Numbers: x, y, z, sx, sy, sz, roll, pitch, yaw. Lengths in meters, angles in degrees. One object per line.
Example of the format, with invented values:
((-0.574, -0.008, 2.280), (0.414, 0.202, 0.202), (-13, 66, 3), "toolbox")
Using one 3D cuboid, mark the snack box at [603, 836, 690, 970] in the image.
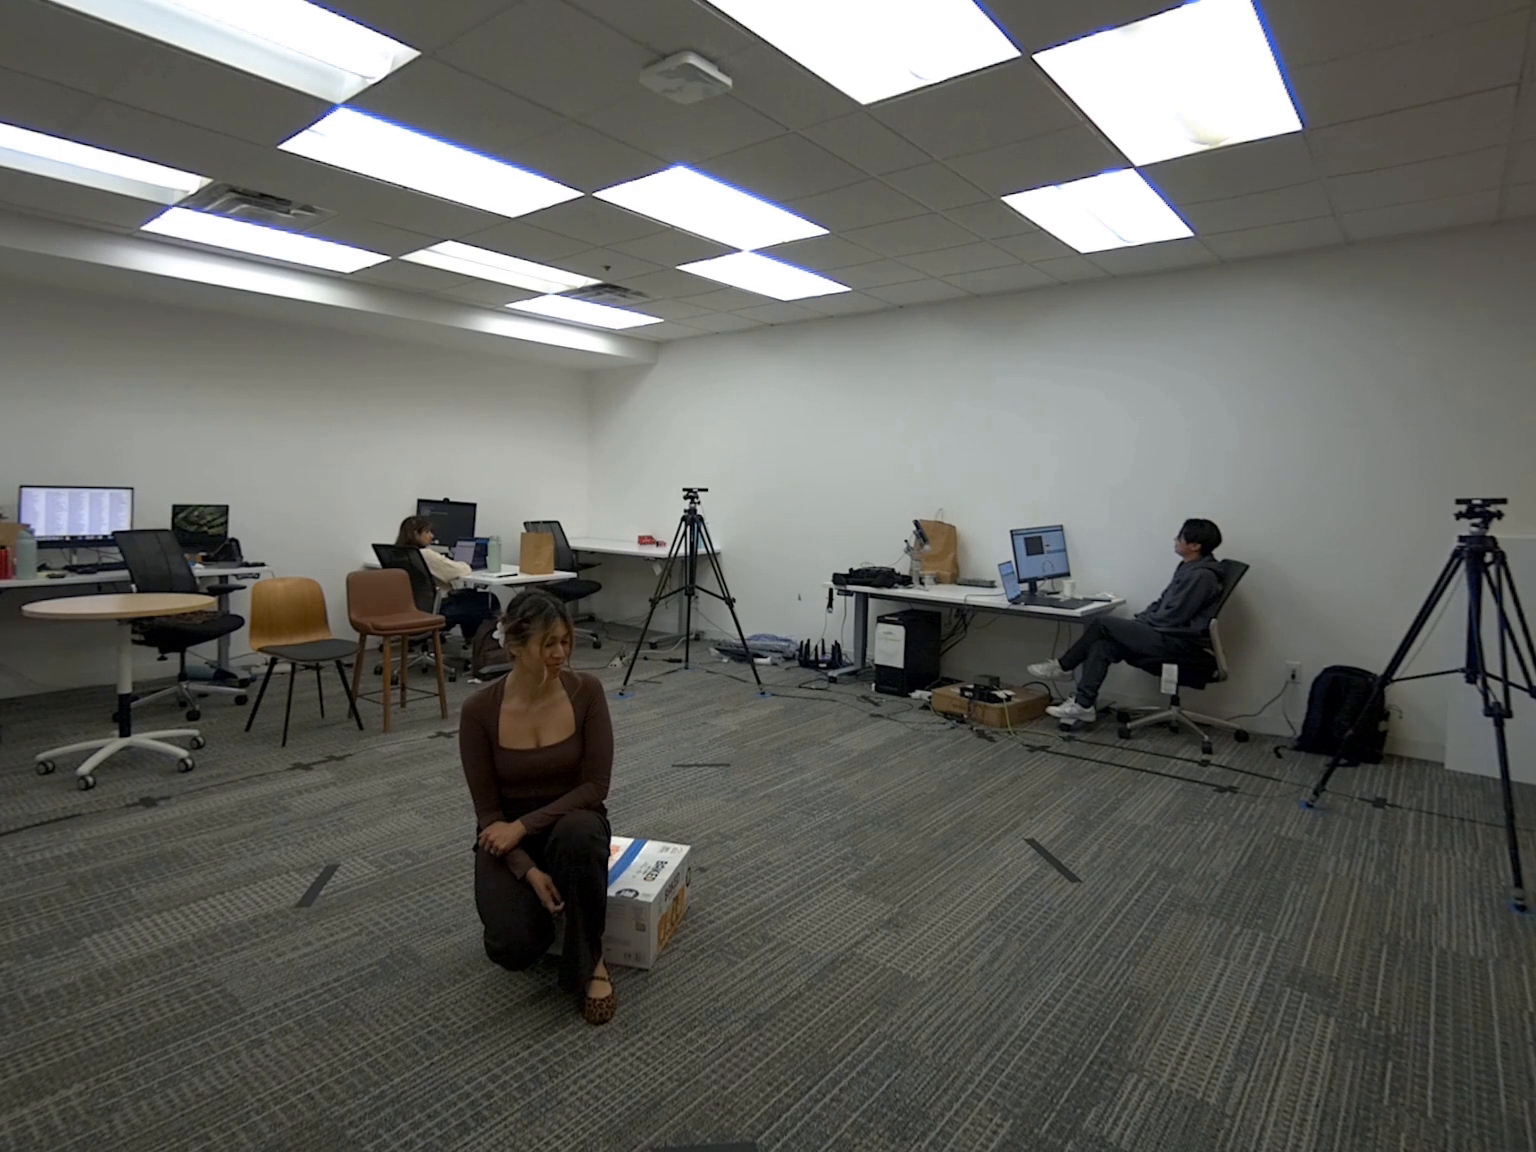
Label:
((-0.469, 1.008, 2.670), (0.345, 0.205, 0.401), (1, 5, 13), "snack box")
